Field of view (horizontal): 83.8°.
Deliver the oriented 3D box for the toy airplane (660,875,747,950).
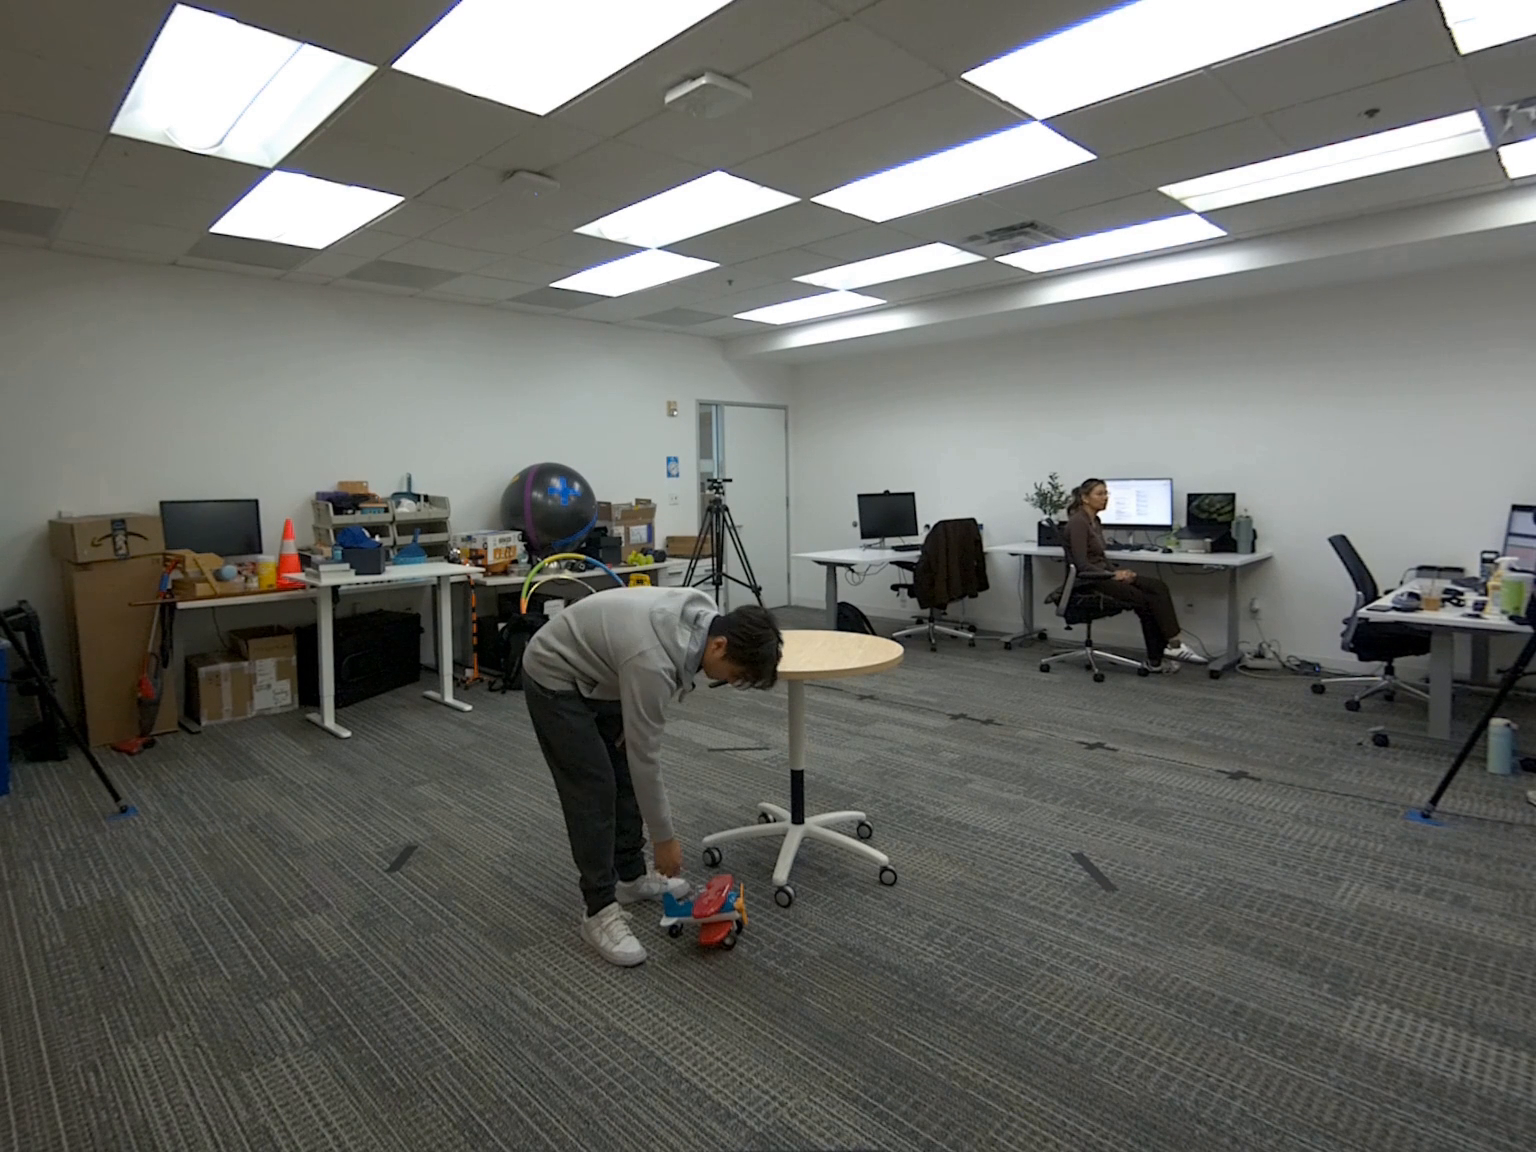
[{"bbox_3d":[-0.192,1.034,2.594,0.256,0.156,0.256,-2,6,-15],"label":"toy airplane"}]
